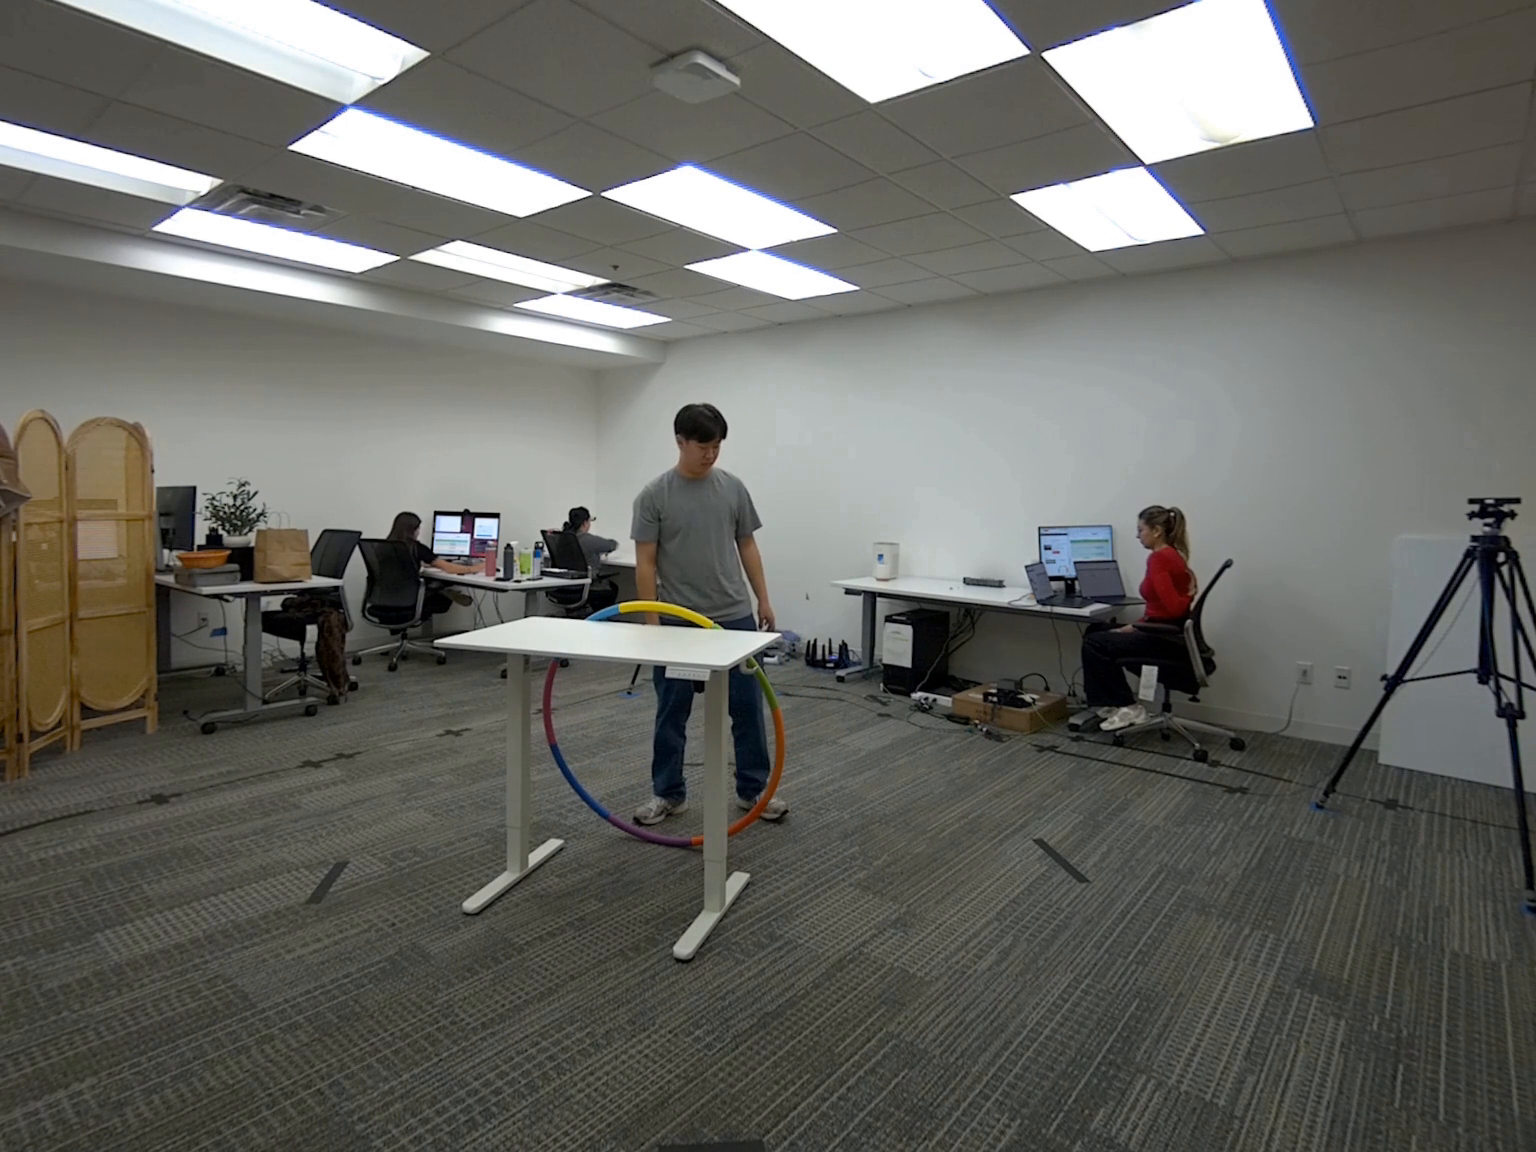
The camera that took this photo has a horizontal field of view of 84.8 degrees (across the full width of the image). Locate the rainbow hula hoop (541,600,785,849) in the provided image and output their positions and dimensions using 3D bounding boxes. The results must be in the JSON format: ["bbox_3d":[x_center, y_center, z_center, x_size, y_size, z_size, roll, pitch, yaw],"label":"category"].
[{"bbox_3d":[-0.428,0.575,3.217,0.999,0.966,0.035,3,14,20],"label":"rainbow hula hoop"}]
